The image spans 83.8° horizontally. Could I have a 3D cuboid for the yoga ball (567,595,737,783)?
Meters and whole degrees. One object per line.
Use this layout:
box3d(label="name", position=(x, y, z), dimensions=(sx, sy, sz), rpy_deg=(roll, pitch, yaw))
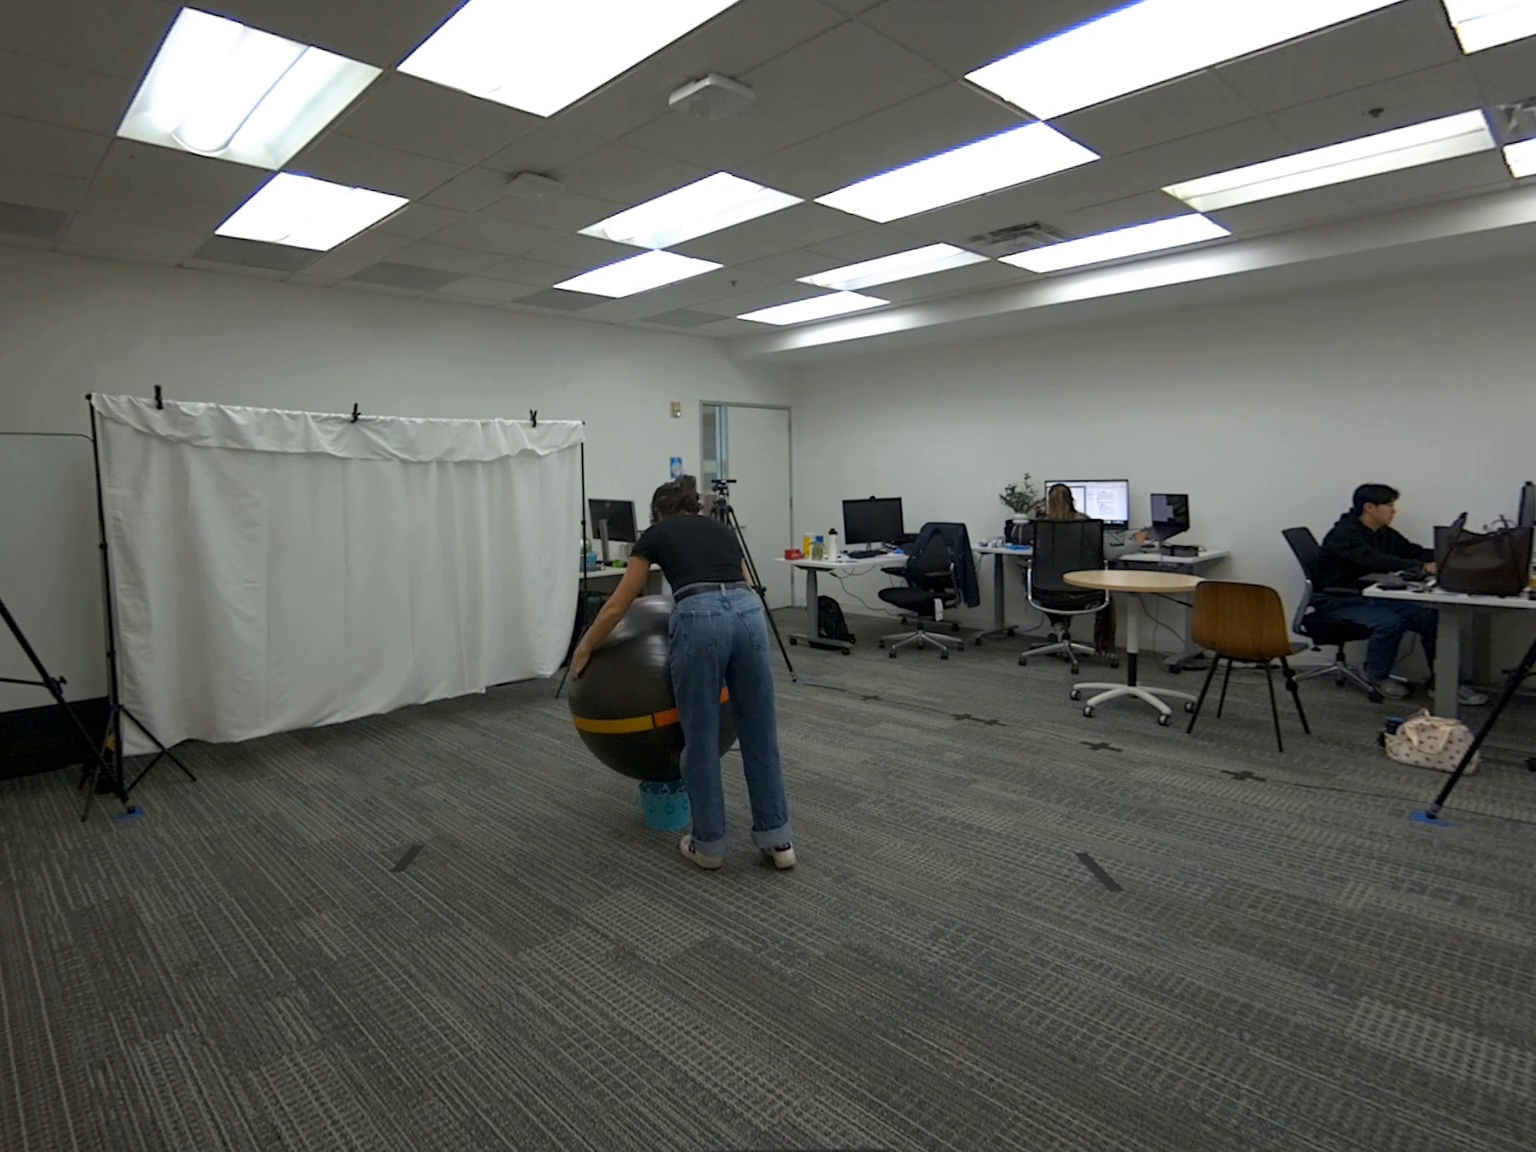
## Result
box3d(label="yoga ball", position=(-0.446, 0.462, 3.536), dimensions=(0.757, 0.755, 0.762), rpy_deg=(-1, 5, -2))
